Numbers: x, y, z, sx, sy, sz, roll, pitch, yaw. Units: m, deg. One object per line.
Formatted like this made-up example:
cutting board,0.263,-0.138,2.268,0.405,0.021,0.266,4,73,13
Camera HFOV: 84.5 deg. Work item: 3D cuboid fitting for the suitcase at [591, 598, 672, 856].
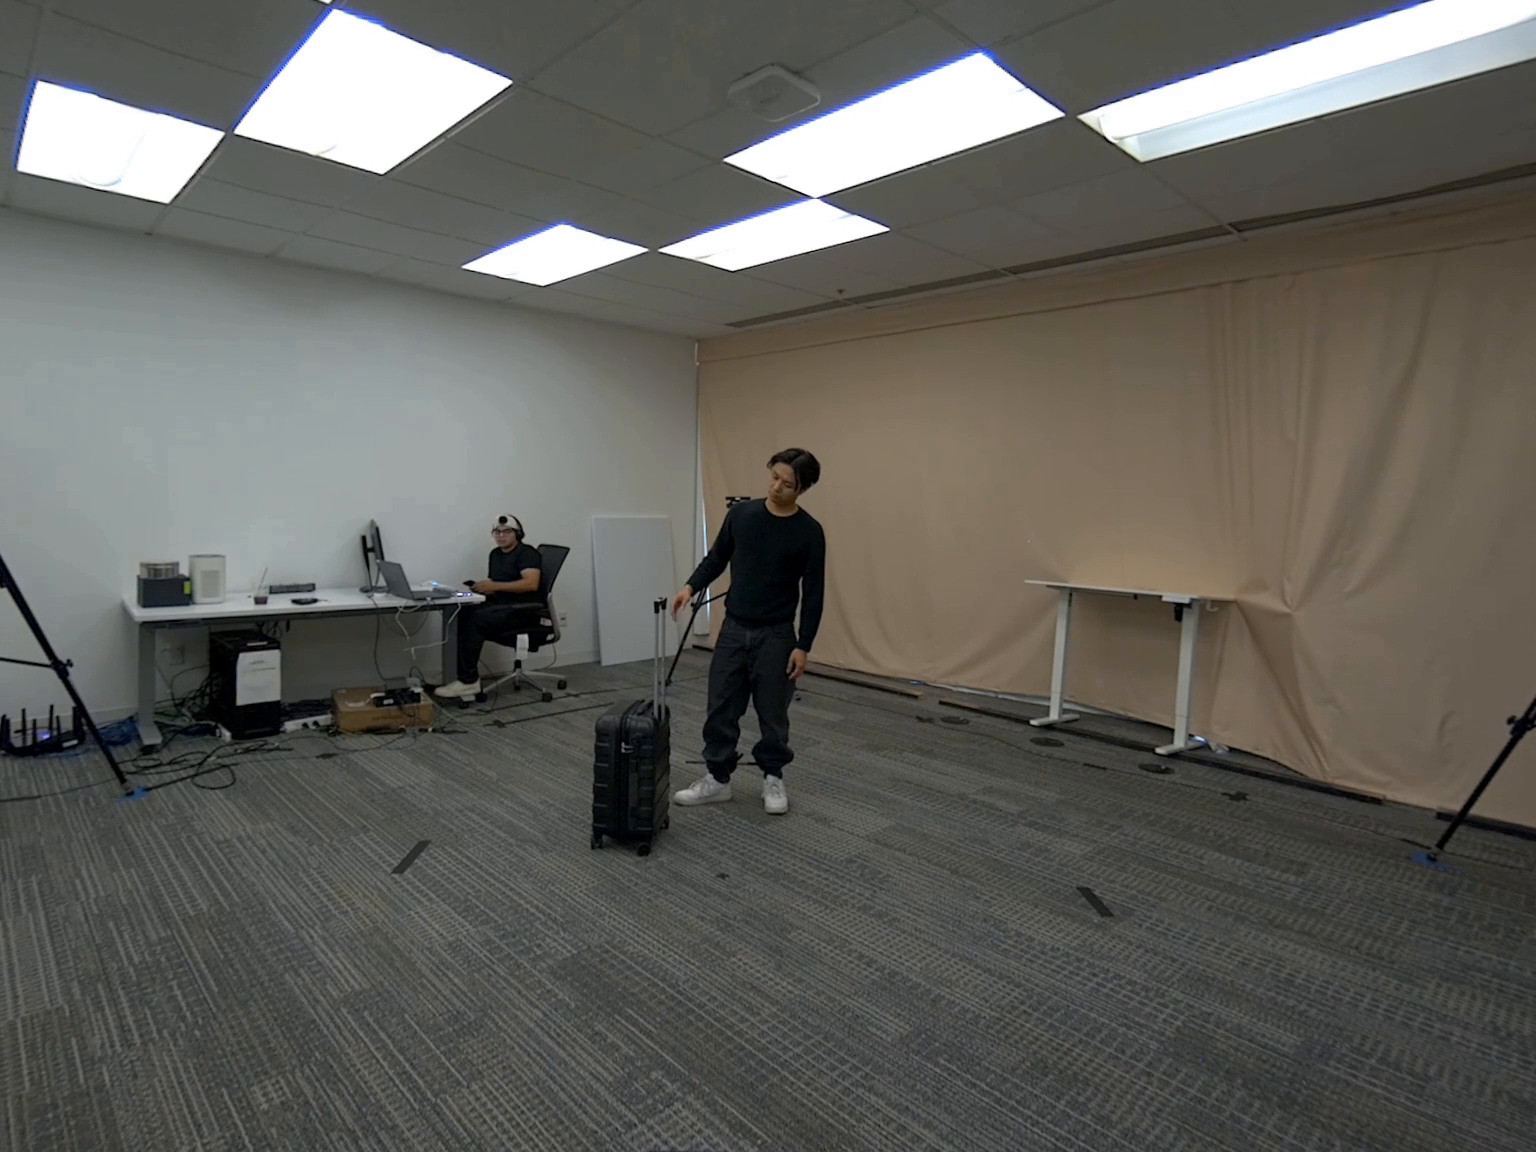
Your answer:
suitcase,-0.556,0.589,3.418,0.258,0.977,0.383,0,2,5
